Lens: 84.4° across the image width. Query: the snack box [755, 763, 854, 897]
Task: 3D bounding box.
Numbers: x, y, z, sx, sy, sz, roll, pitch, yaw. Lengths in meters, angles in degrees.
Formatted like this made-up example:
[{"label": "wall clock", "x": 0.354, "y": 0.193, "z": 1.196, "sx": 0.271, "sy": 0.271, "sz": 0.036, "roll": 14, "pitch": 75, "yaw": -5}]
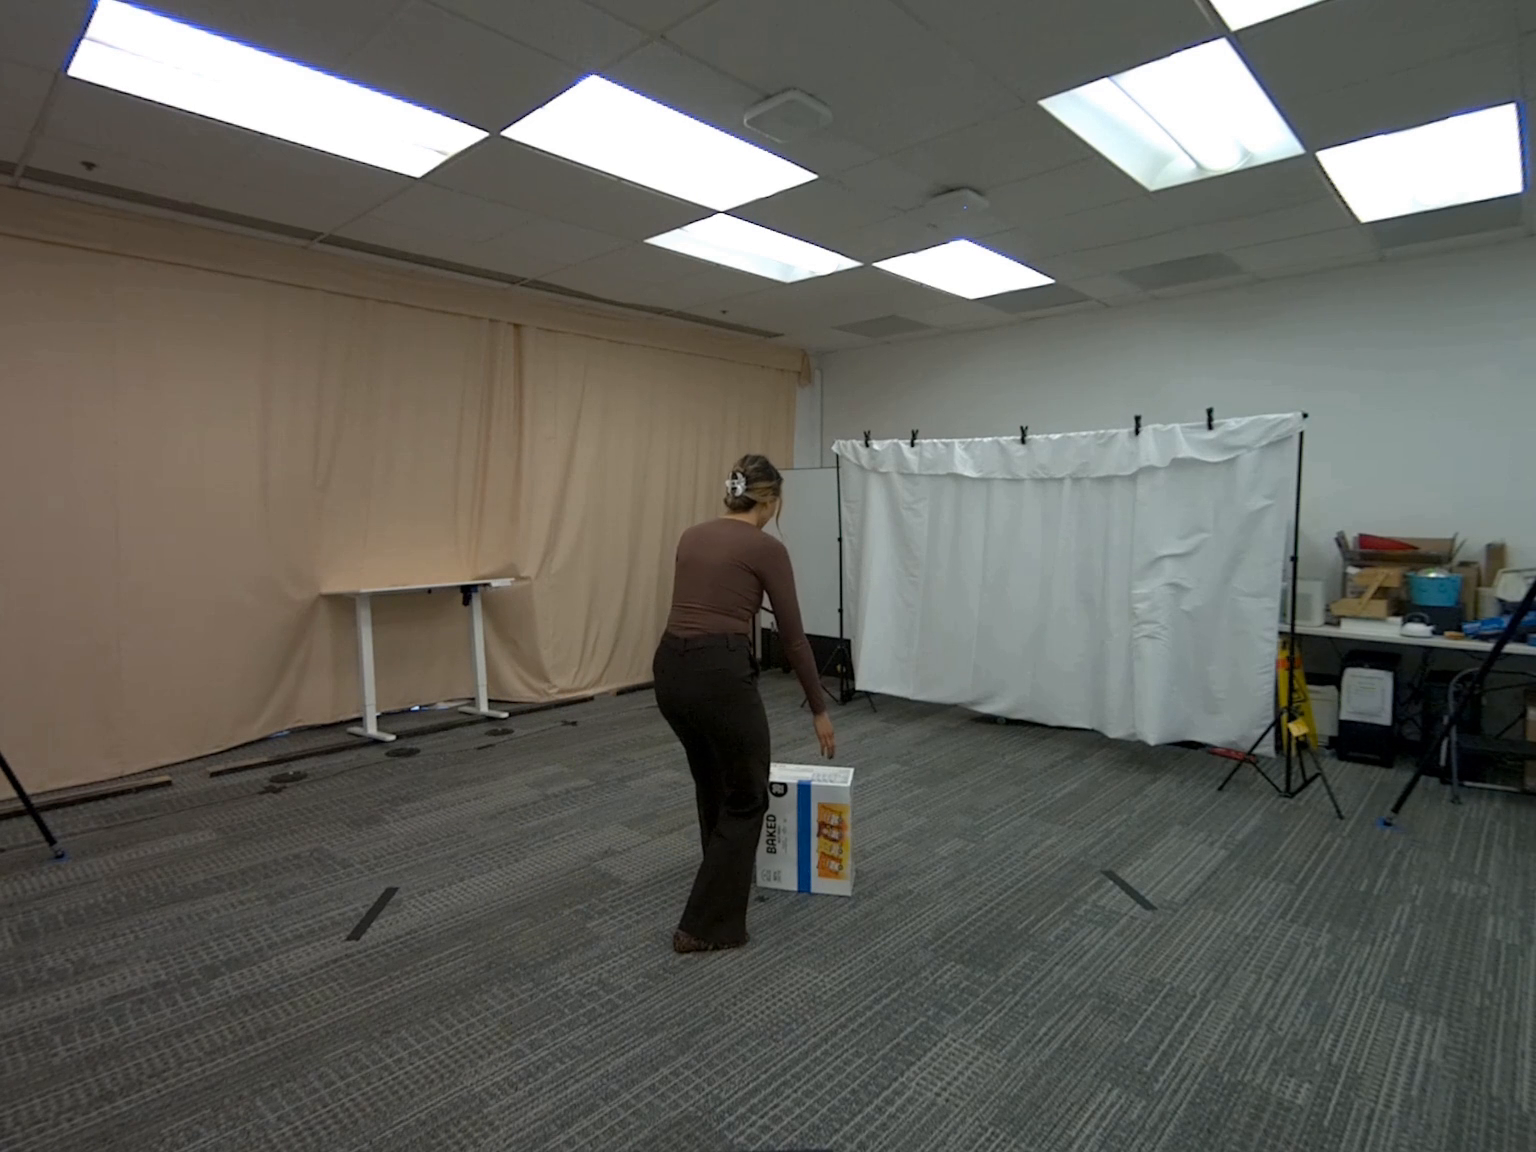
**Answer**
[{"label": "snack box", "x": 0.146, "y": 0.928, "z": 3.113, "sx": 0.345, "sy": 0.404, "sz": 0.203, "roll": 0, "pitch": 4, "yaw": 13}]
